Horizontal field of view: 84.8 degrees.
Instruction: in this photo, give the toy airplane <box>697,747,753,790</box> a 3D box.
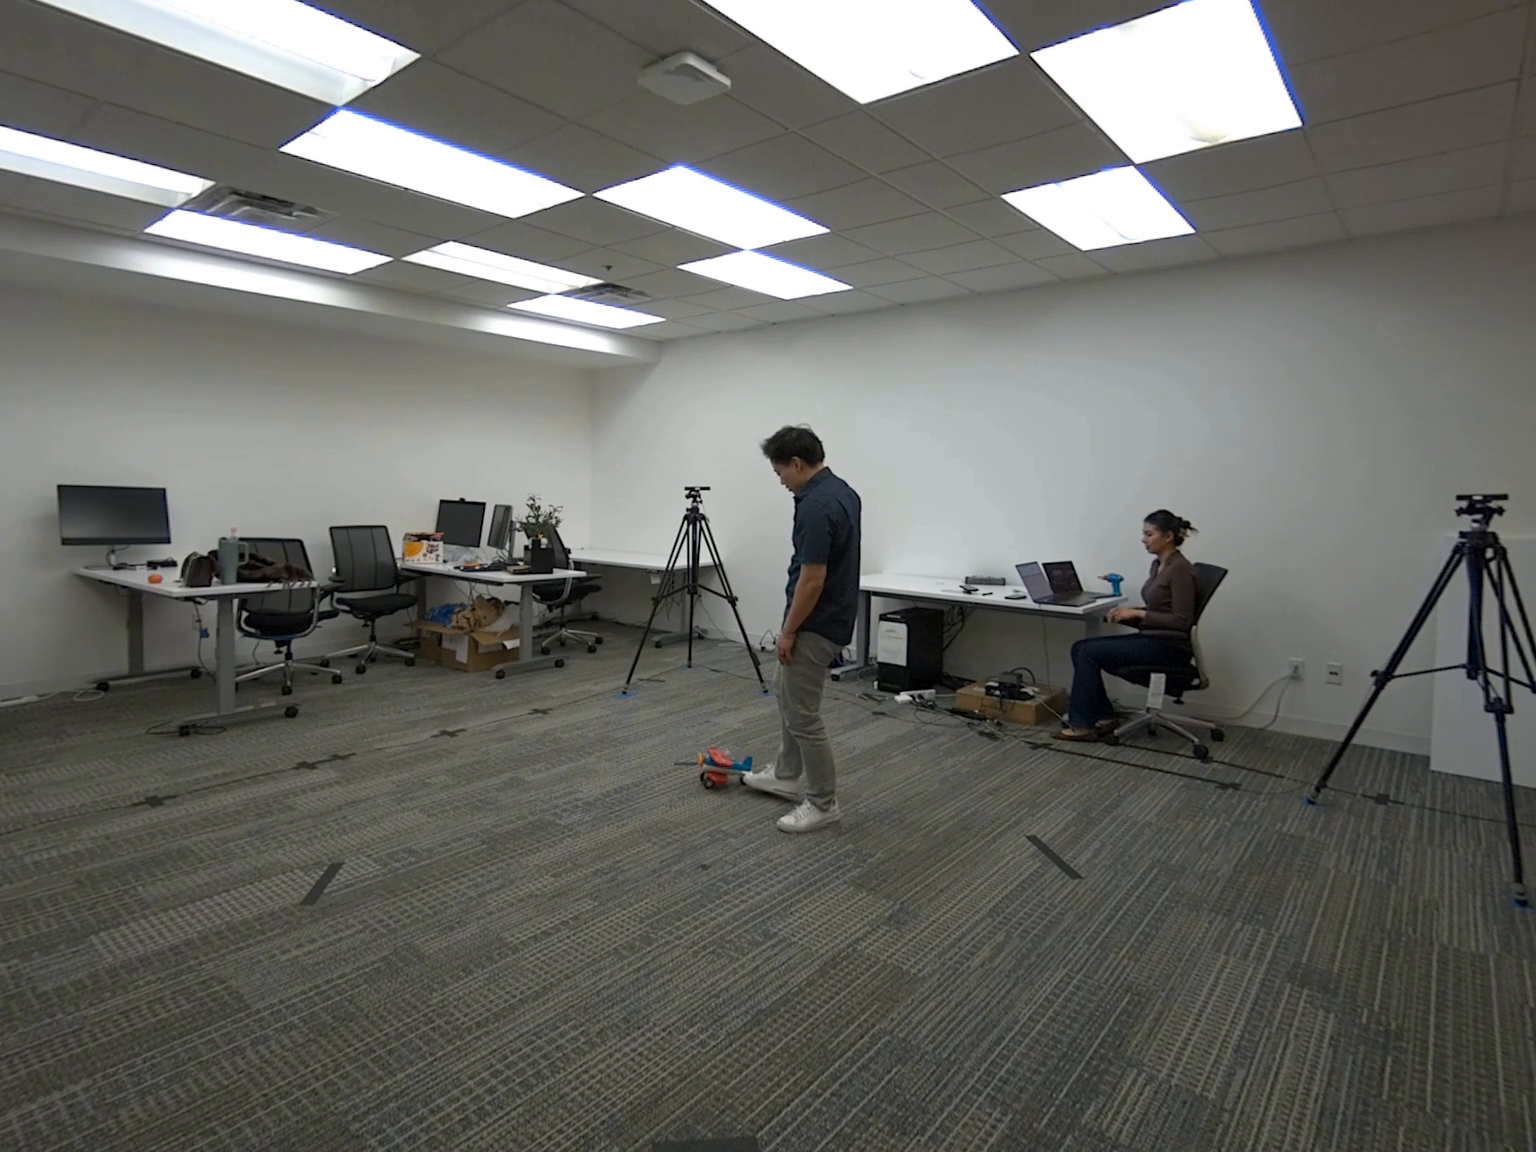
[{"bbox_3d":[-0.217,0.903,4.017,0.251,0.156,0.259,-3,6,-41],"label":"toy airplane"}]
